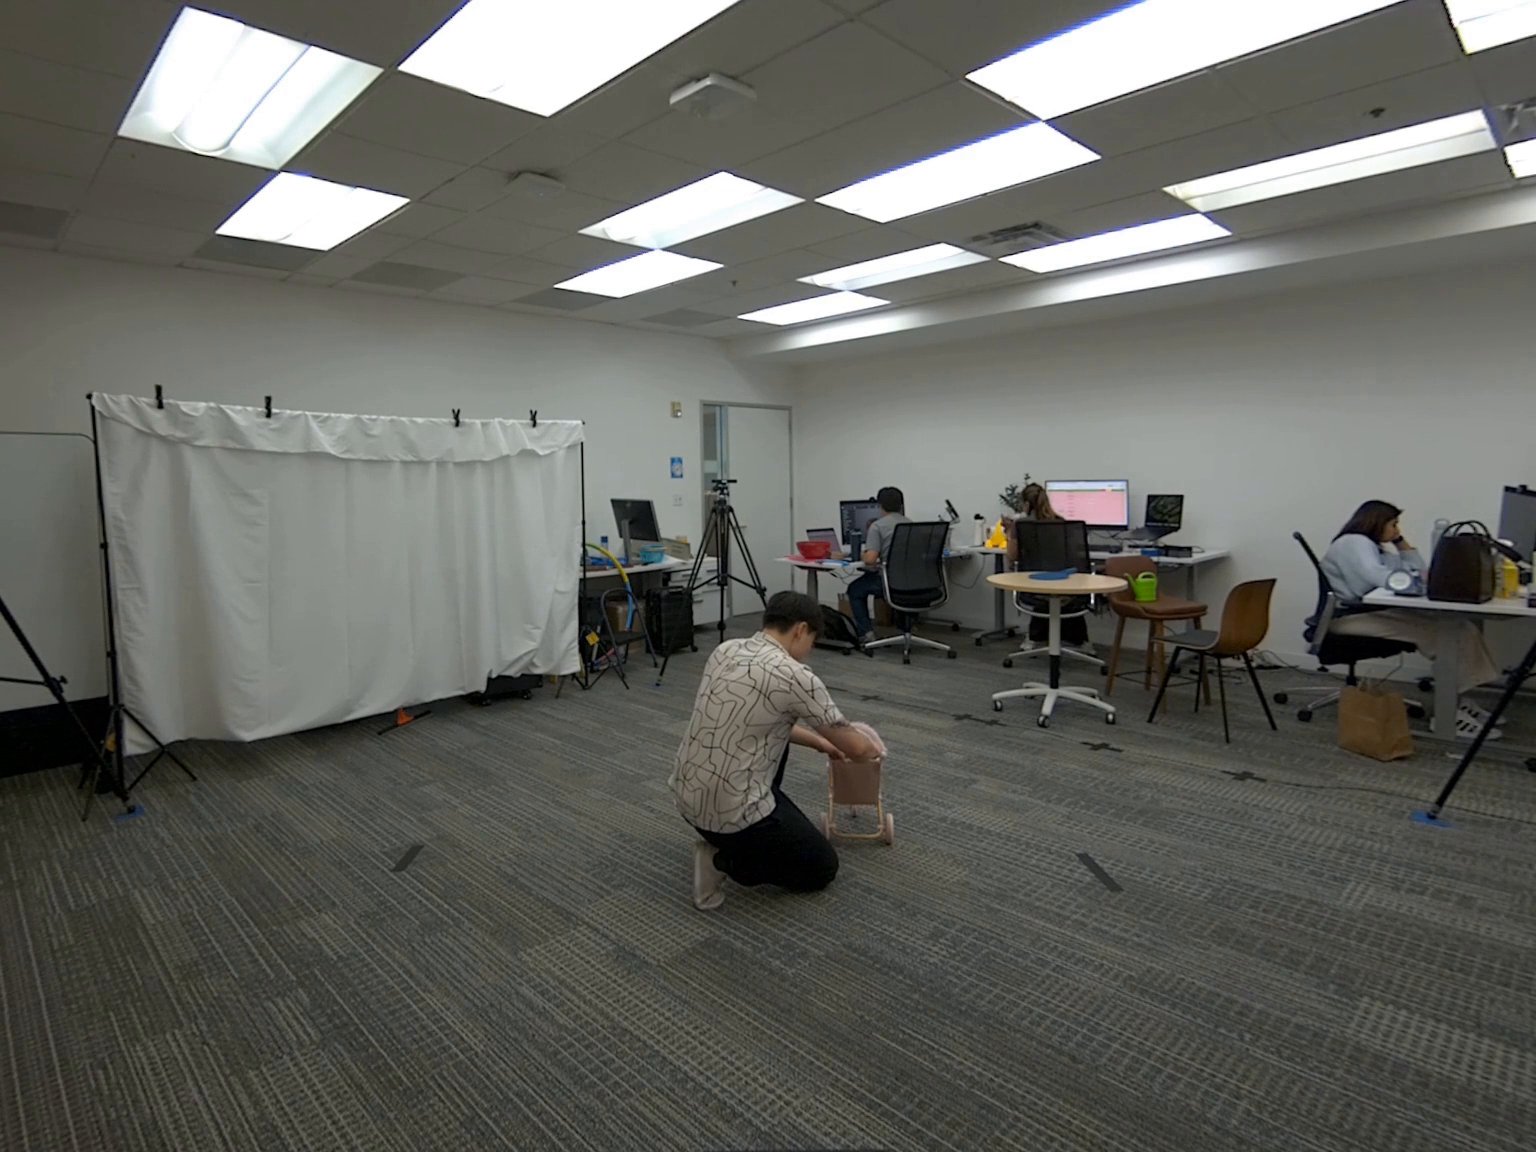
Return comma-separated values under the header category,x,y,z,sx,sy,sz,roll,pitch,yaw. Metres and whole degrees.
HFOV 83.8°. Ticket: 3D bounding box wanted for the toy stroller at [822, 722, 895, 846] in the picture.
category,x,y,z,sx,sy,sz,roll,pitch,yaw
toy stroller,0.346,0.796,3.334,0.284,0.525,0.345,0,22,8
